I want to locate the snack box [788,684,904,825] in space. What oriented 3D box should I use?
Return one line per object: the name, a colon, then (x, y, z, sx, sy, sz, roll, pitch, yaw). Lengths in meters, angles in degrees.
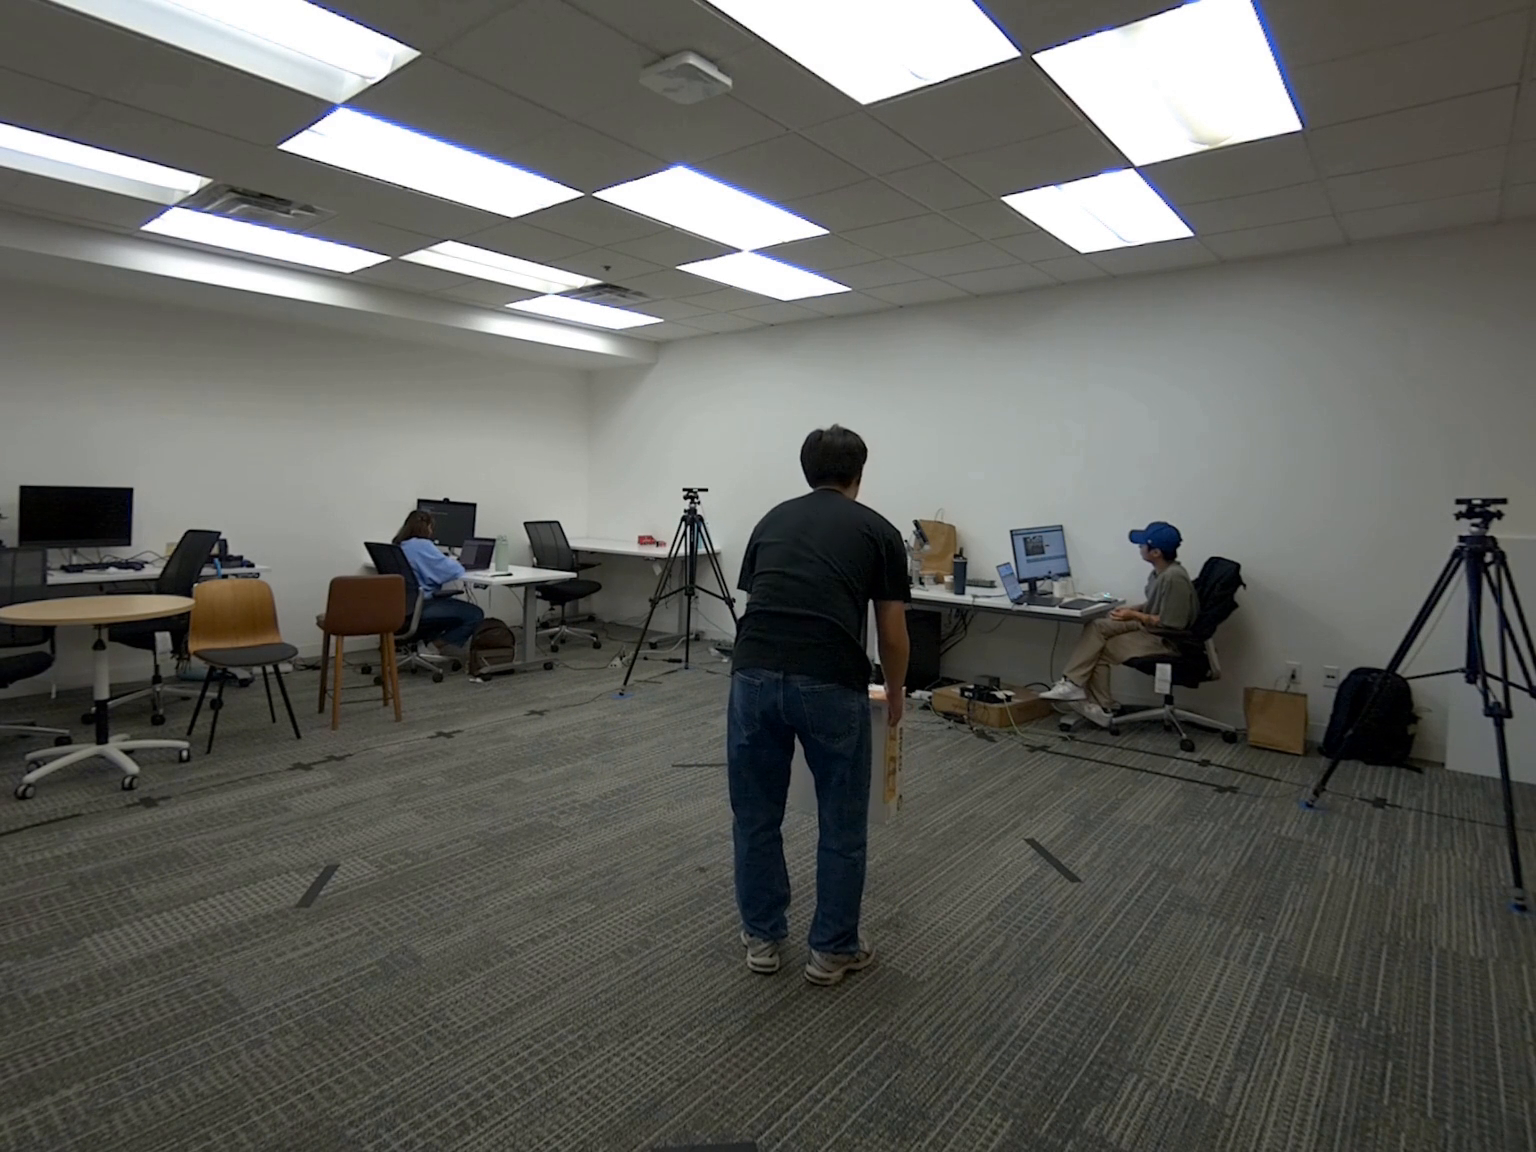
snack box: (0.257, 0.573, 2.859, 0.349, 0.404, 0.201, 2, 3, 26)
